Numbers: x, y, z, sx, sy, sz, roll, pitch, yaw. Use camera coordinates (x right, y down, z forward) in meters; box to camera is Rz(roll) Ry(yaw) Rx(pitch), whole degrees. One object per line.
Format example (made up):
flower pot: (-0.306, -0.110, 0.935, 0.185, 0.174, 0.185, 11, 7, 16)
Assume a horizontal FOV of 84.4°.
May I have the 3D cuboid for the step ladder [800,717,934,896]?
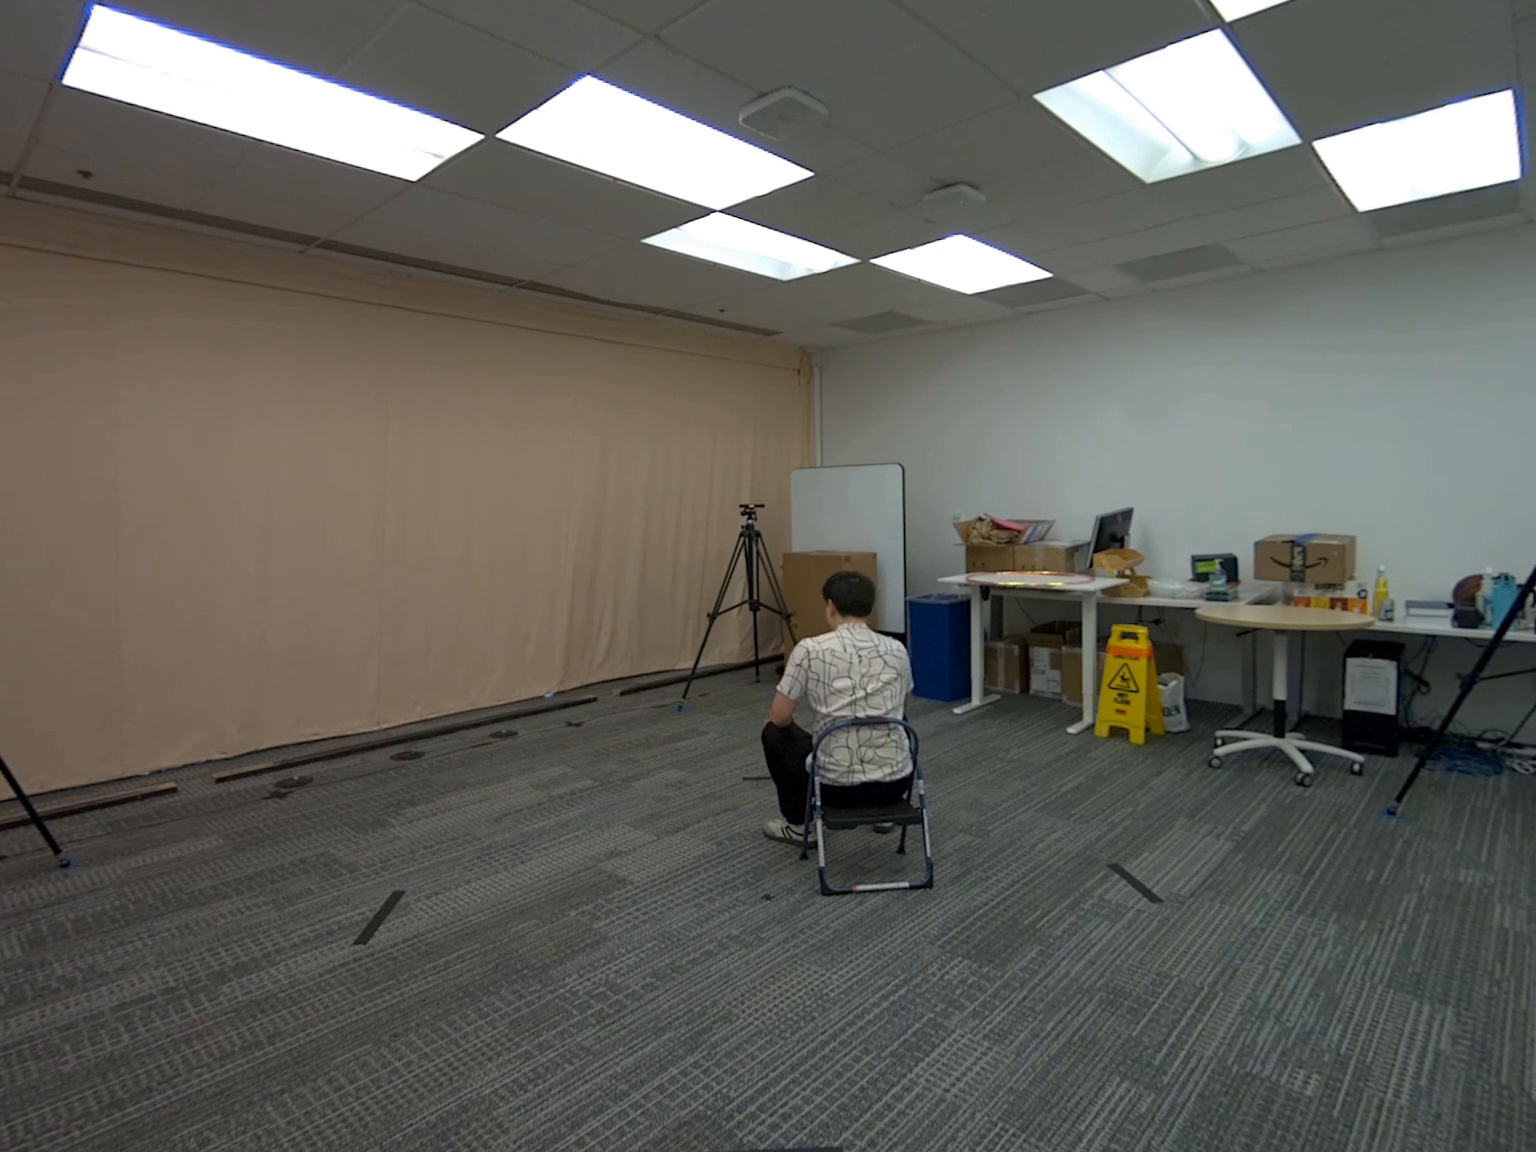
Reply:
step ladder: (0.362, 0.817, 3.156, 0.427, 0.605, 0.353, -1, 3, -9)
